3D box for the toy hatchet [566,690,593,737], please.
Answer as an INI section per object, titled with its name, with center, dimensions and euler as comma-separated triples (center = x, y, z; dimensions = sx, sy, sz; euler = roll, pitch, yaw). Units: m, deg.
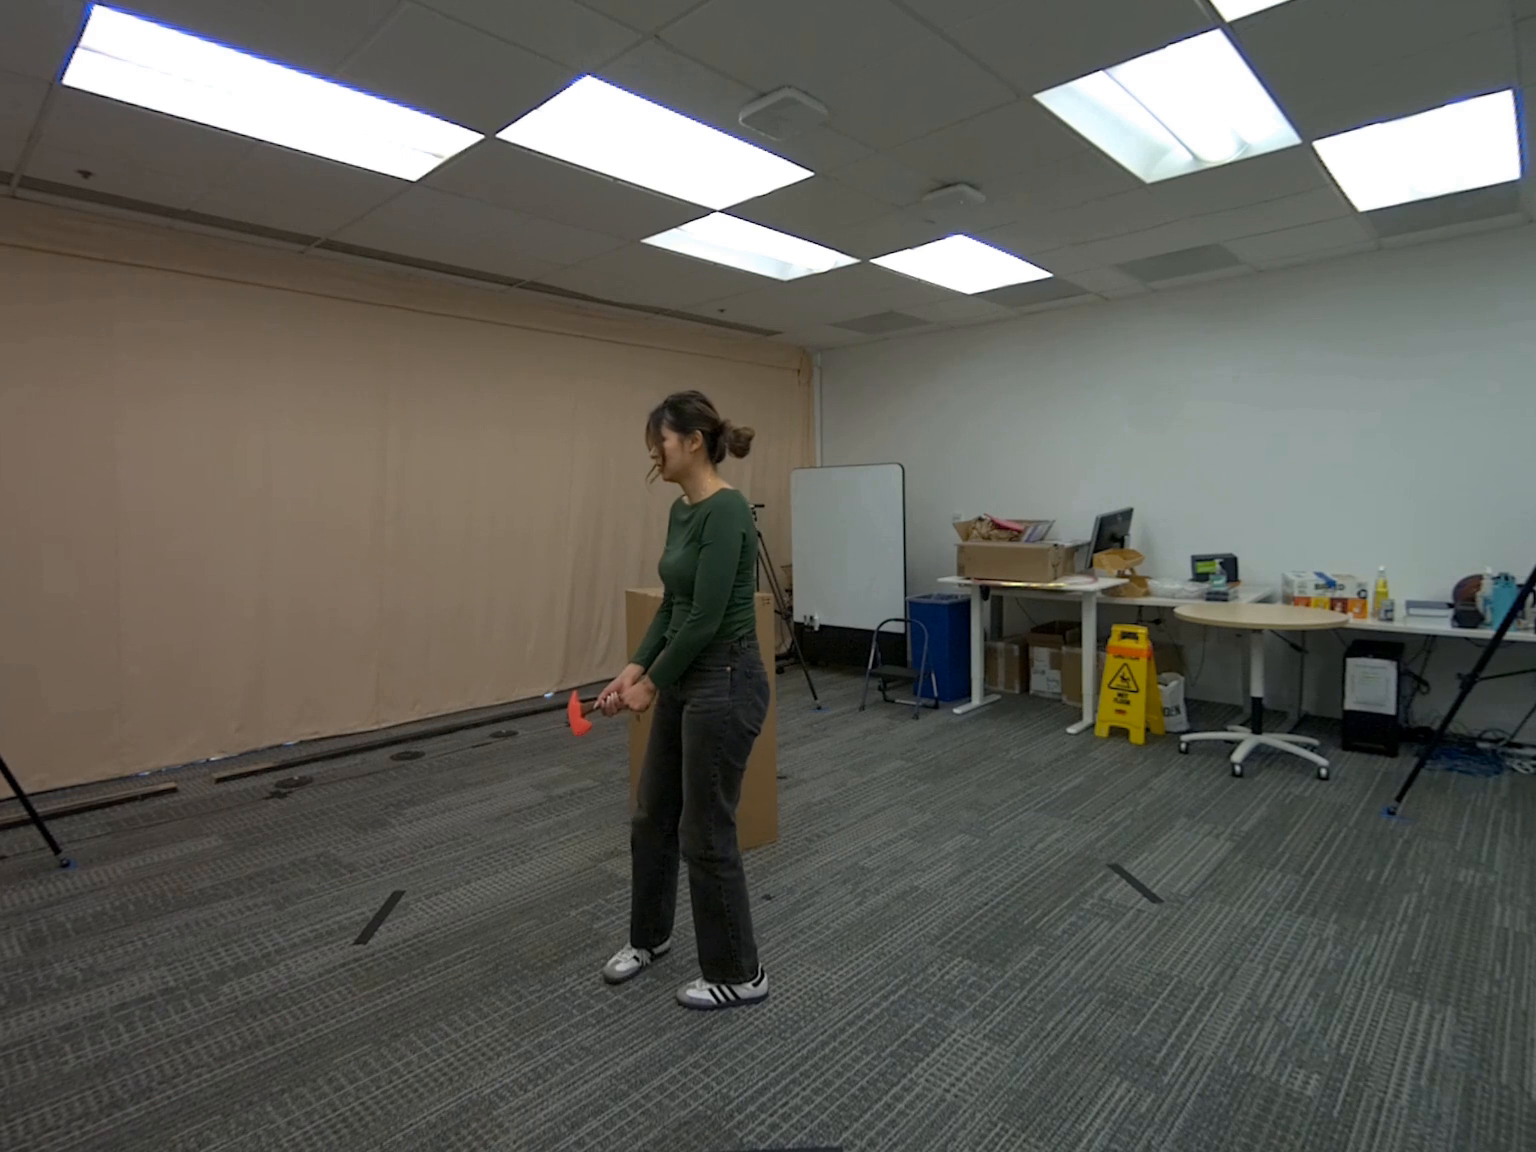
[toy hatchet]
center = -0.440, 0.397, 2.354
dimensions = 0.277, 0.132, 0.028
euler = 4, -24, 25
